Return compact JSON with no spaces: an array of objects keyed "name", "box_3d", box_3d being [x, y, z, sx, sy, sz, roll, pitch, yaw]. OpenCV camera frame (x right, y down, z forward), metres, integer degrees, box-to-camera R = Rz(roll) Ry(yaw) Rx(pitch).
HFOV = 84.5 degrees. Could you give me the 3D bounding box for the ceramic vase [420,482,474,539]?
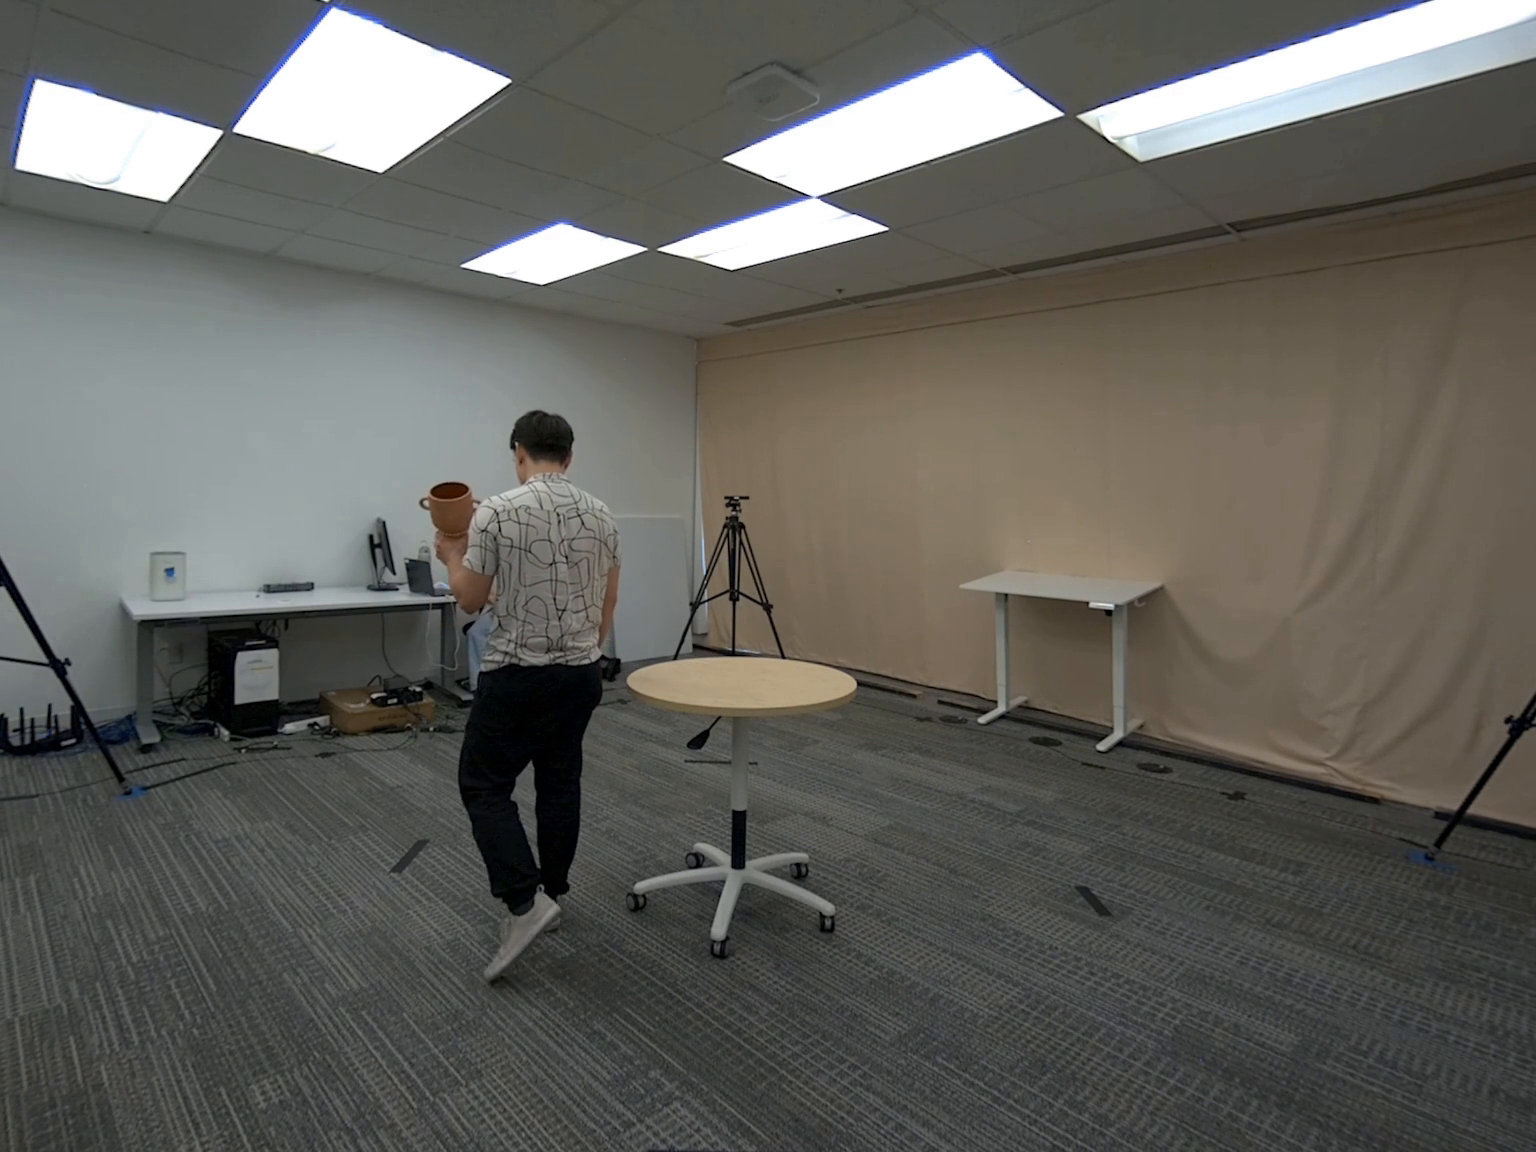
[{"name":"ceramic vase","box_3d":[-1.019,-0.179,2.721,0.163,0.216,0.133,26,37,30]}]
